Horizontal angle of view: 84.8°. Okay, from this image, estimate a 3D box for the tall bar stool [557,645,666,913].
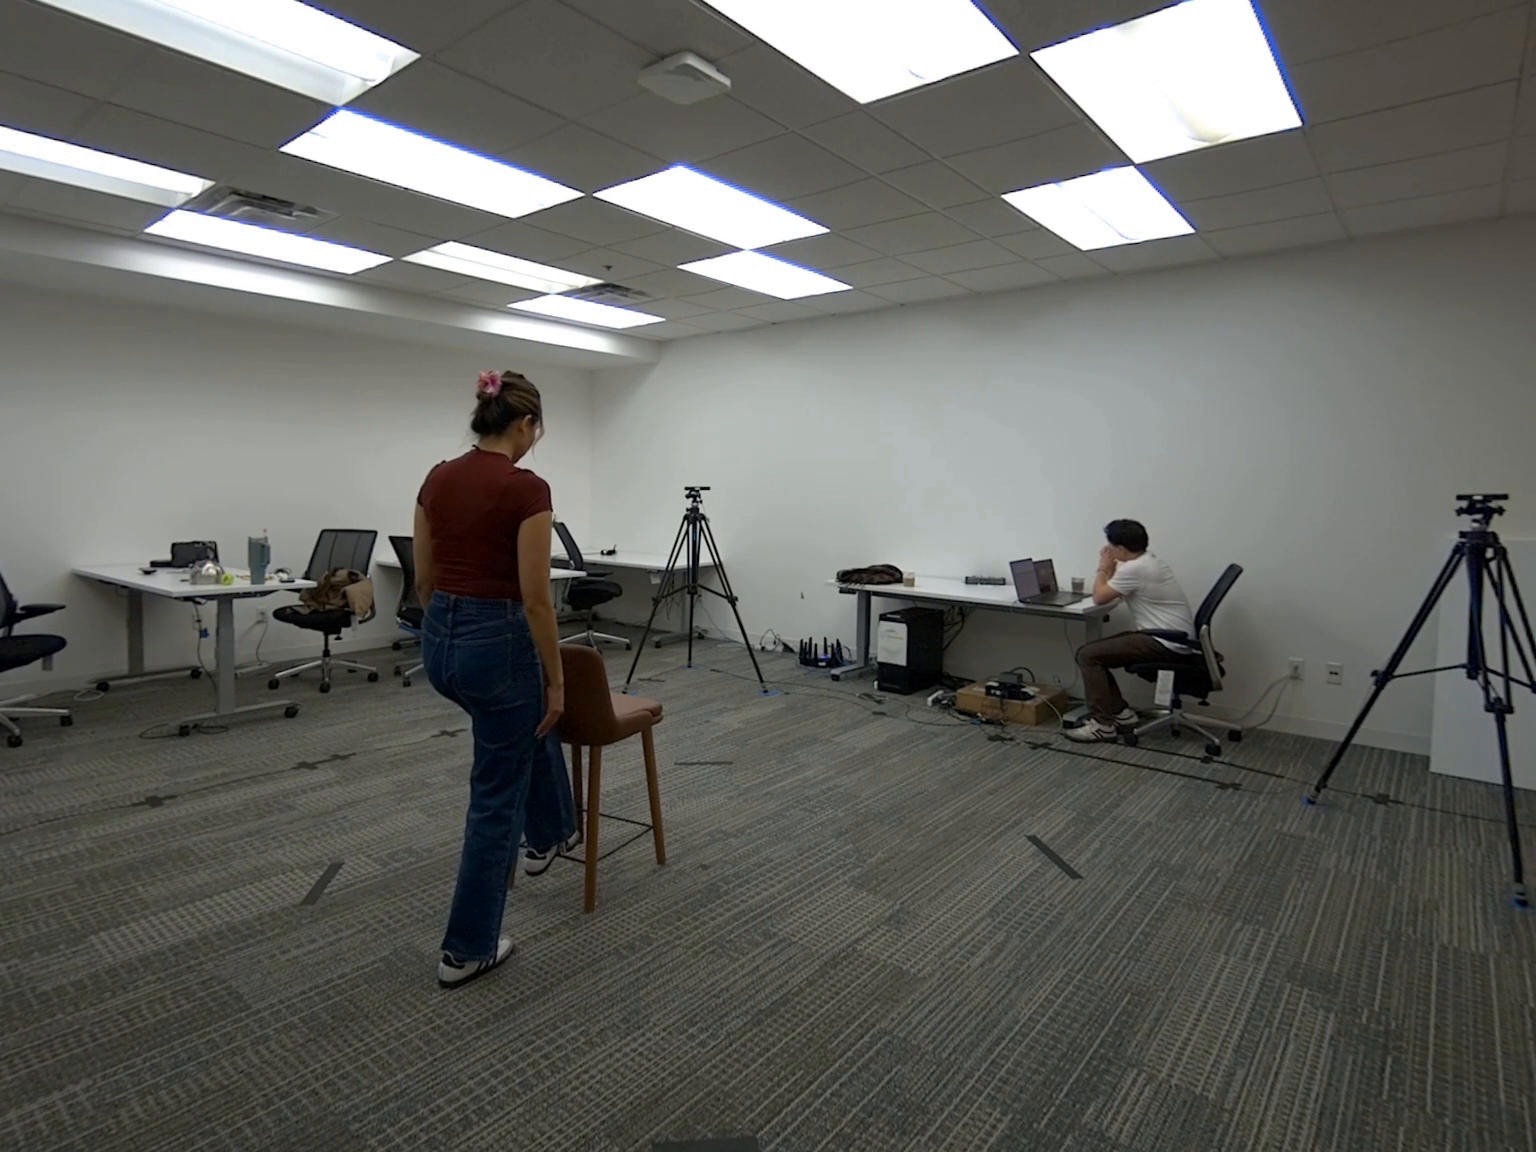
[{"bbox_3d":[-0.662,0.630,3.017,0.469,0.886,0.457,2,6,27],"label":"tall bar stool"}]
